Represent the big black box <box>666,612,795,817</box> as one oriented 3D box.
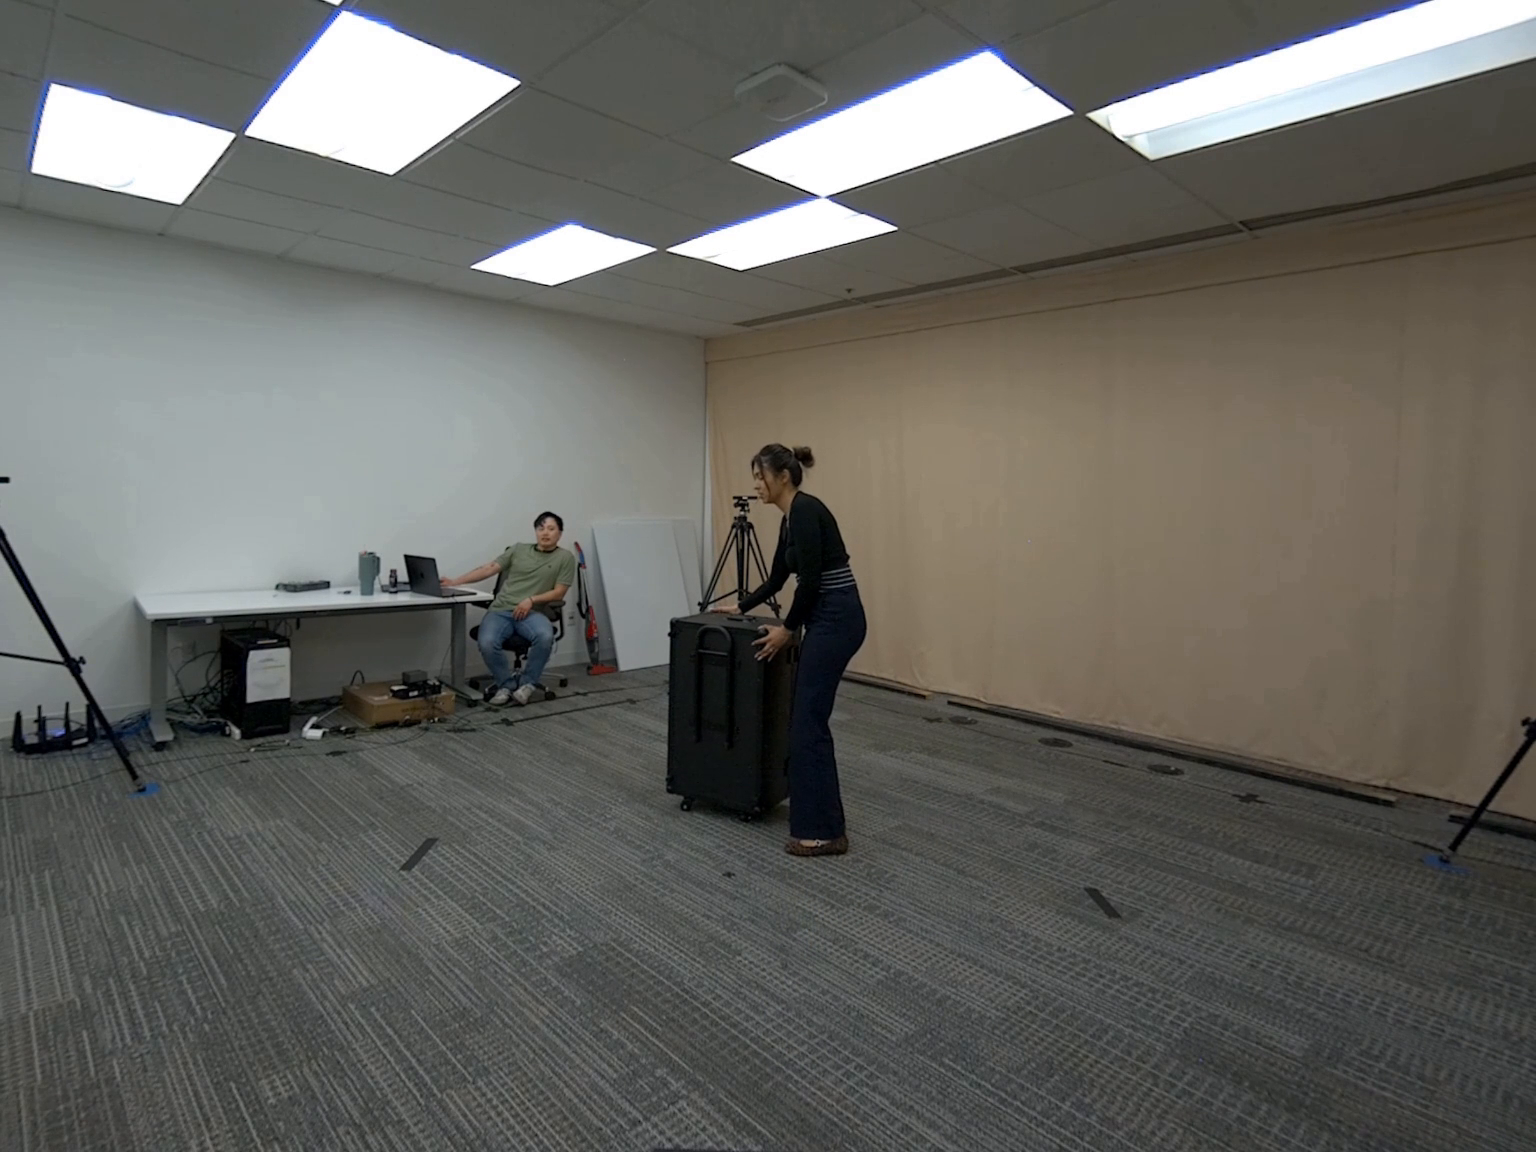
[{"bbox_3d":[-0.159,0.625,3.756,0.533,0.859,0.389,4,5,29],"label":"big black box"}]
